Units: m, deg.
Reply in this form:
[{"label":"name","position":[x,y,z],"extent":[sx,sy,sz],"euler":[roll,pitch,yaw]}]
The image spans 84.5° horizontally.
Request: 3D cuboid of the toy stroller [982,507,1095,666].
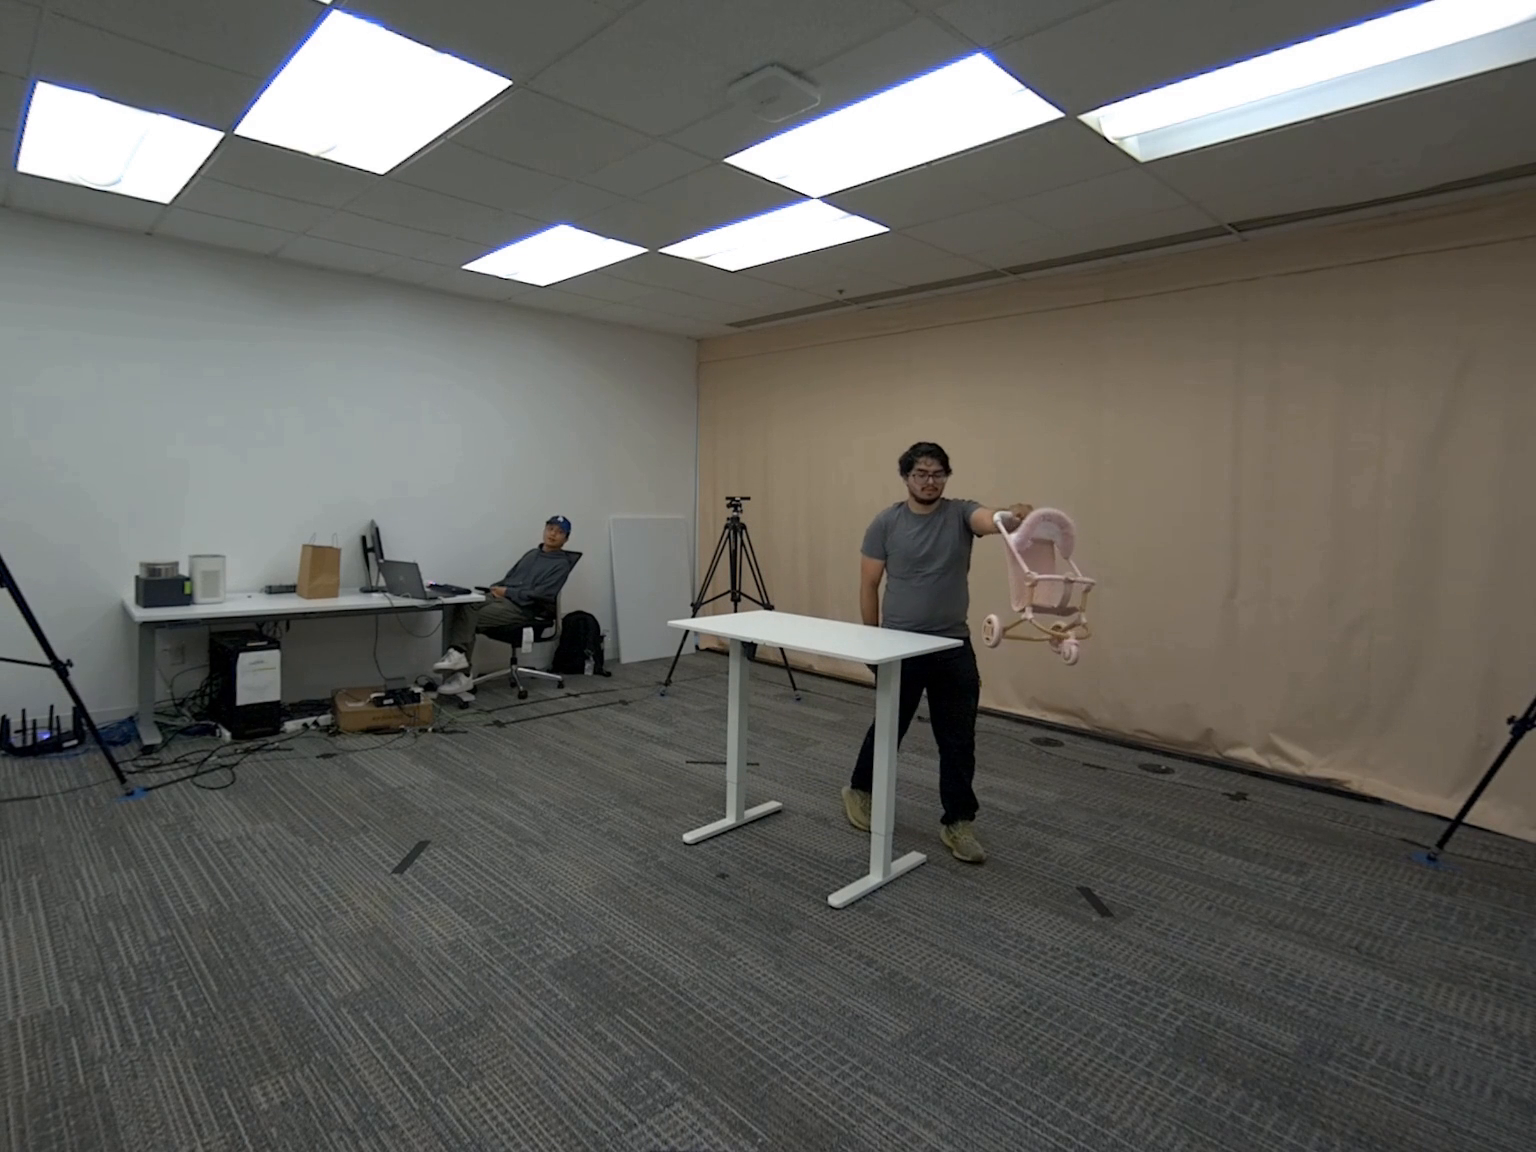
[{"label":"toy stroller","position":[0.873,0.024,2.695],"extent":[0.279,0.539,0.341],"euler":[5,-10,-9]}]
